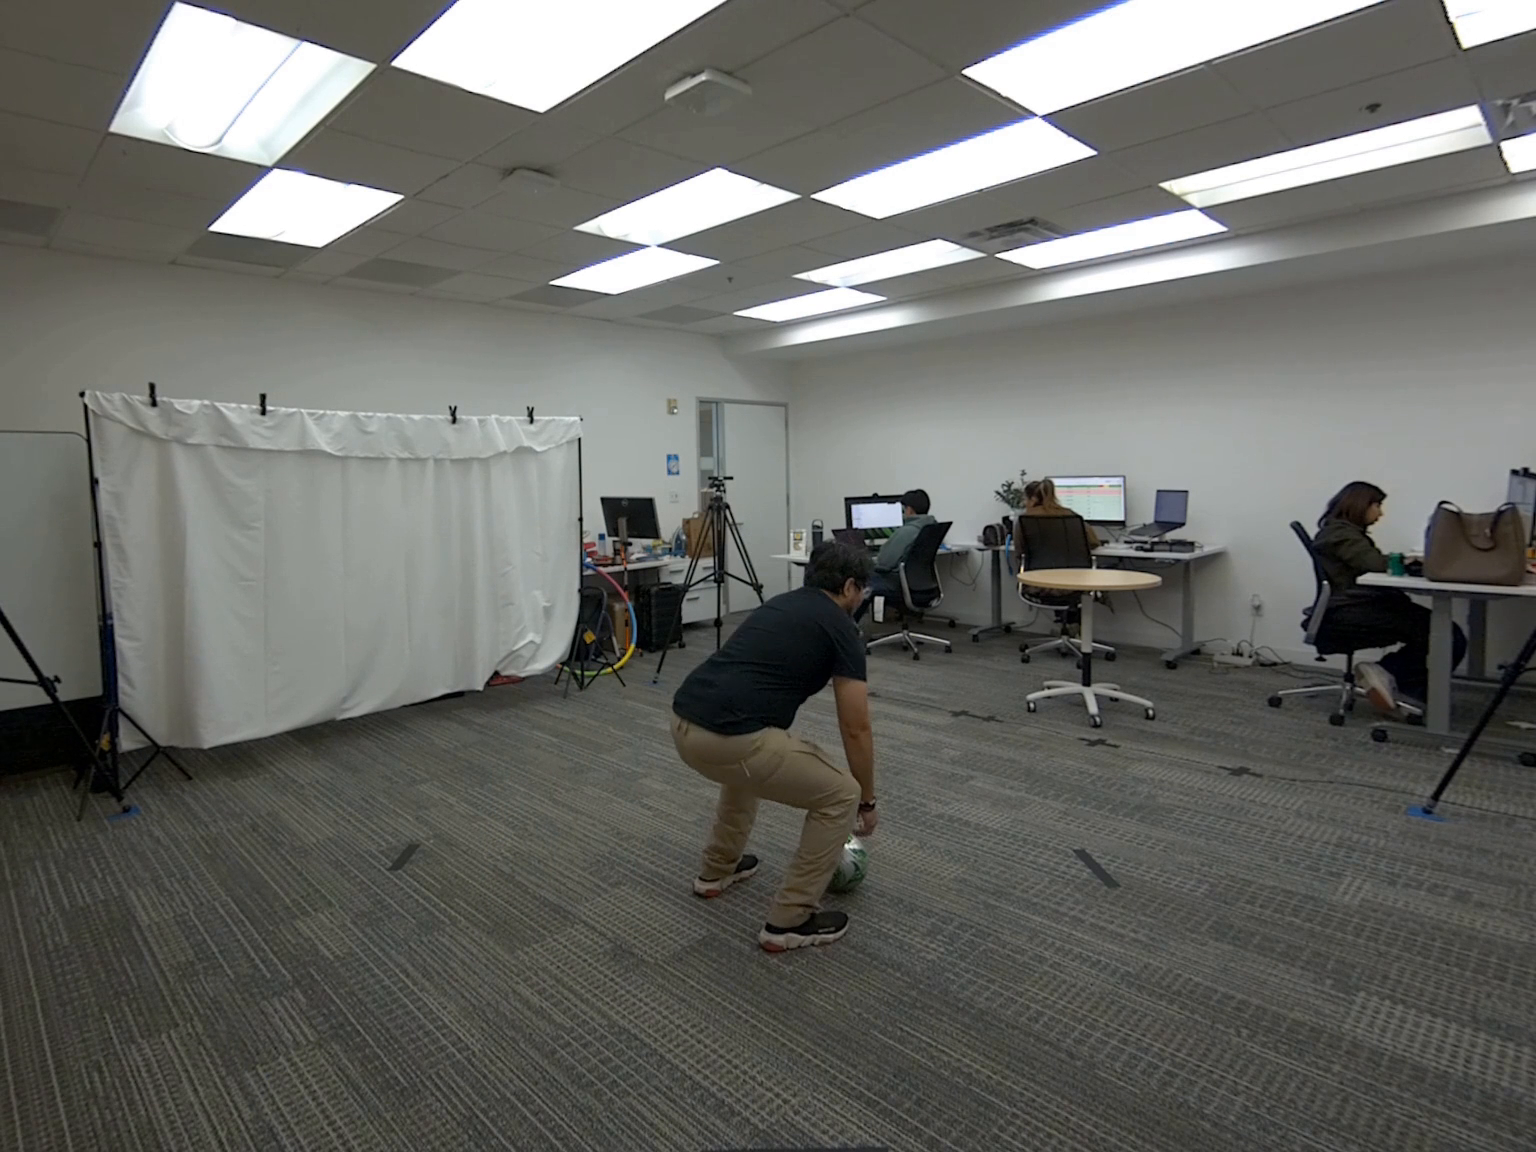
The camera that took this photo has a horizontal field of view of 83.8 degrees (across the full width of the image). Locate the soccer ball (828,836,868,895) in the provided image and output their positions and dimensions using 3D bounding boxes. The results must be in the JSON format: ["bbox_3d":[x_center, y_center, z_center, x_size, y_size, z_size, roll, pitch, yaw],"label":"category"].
[{"bbox_3d":[0.251,0.954,2.886,0.187,0.187,0.188,-1,5,-2],"label":"soccer ball"}]
